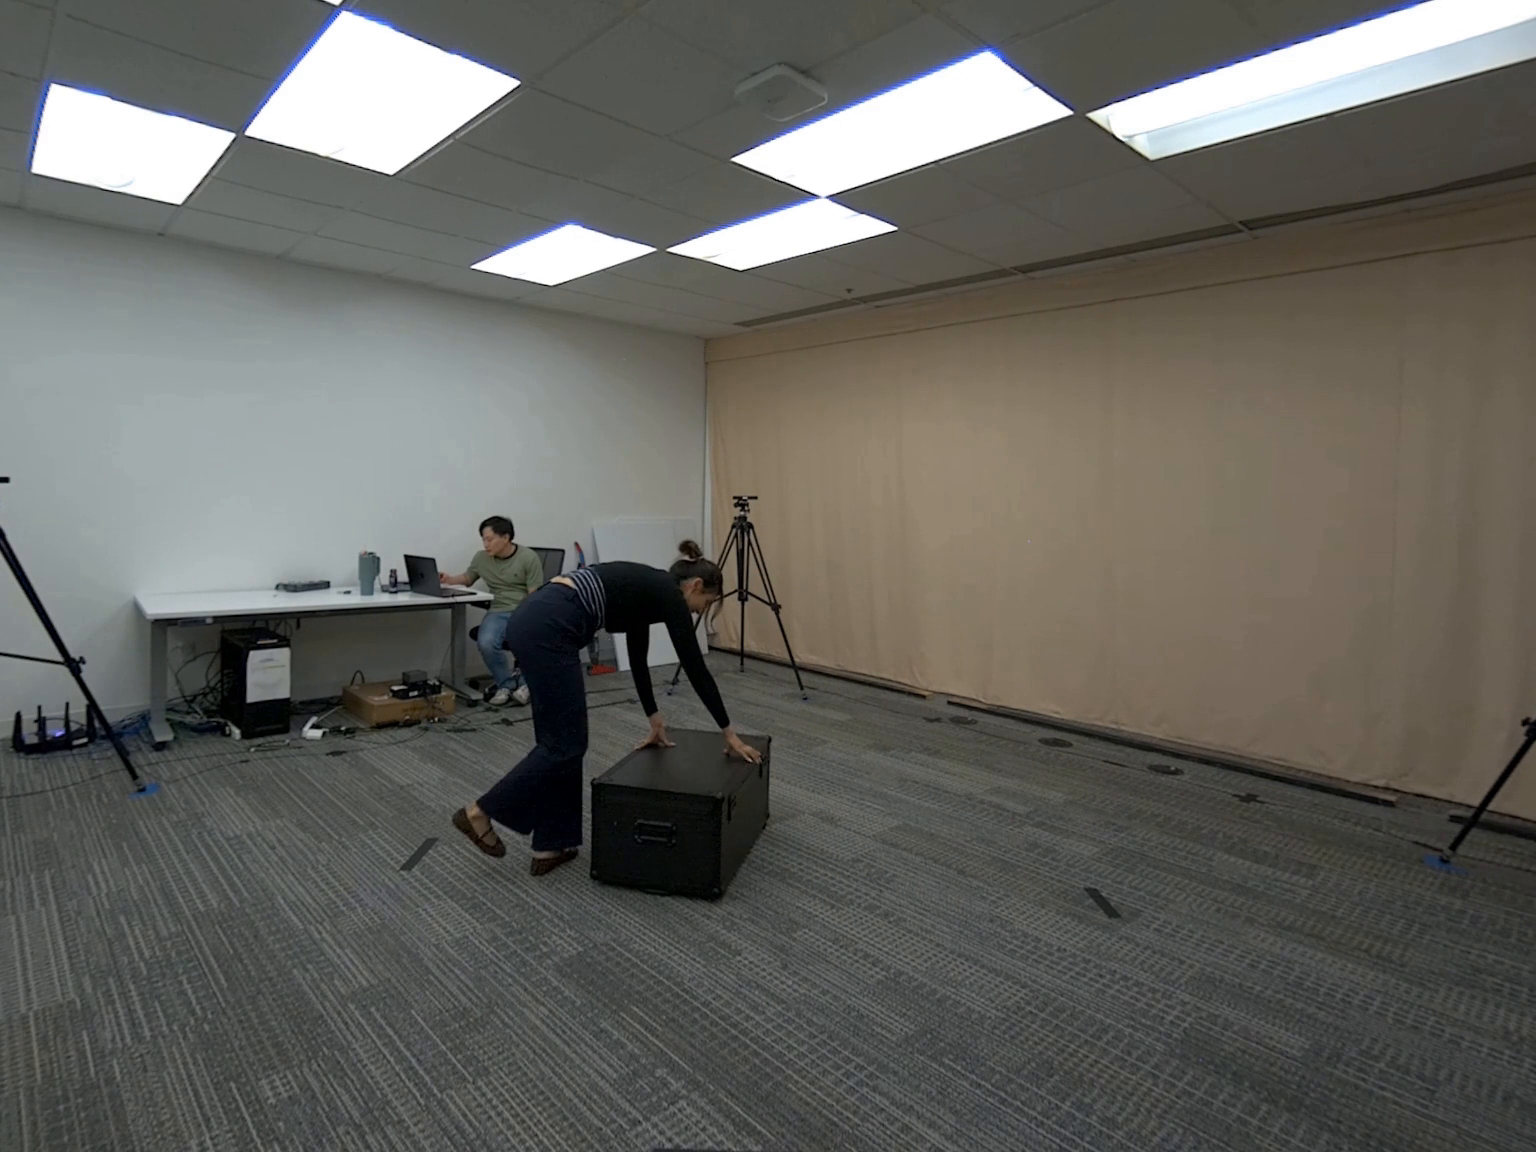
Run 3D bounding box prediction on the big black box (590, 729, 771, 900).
[{"bbox_3d":[-0.301,0.889,3.322,0.527,0.395,0.854,2,6,13],"label":"big black box"}]
